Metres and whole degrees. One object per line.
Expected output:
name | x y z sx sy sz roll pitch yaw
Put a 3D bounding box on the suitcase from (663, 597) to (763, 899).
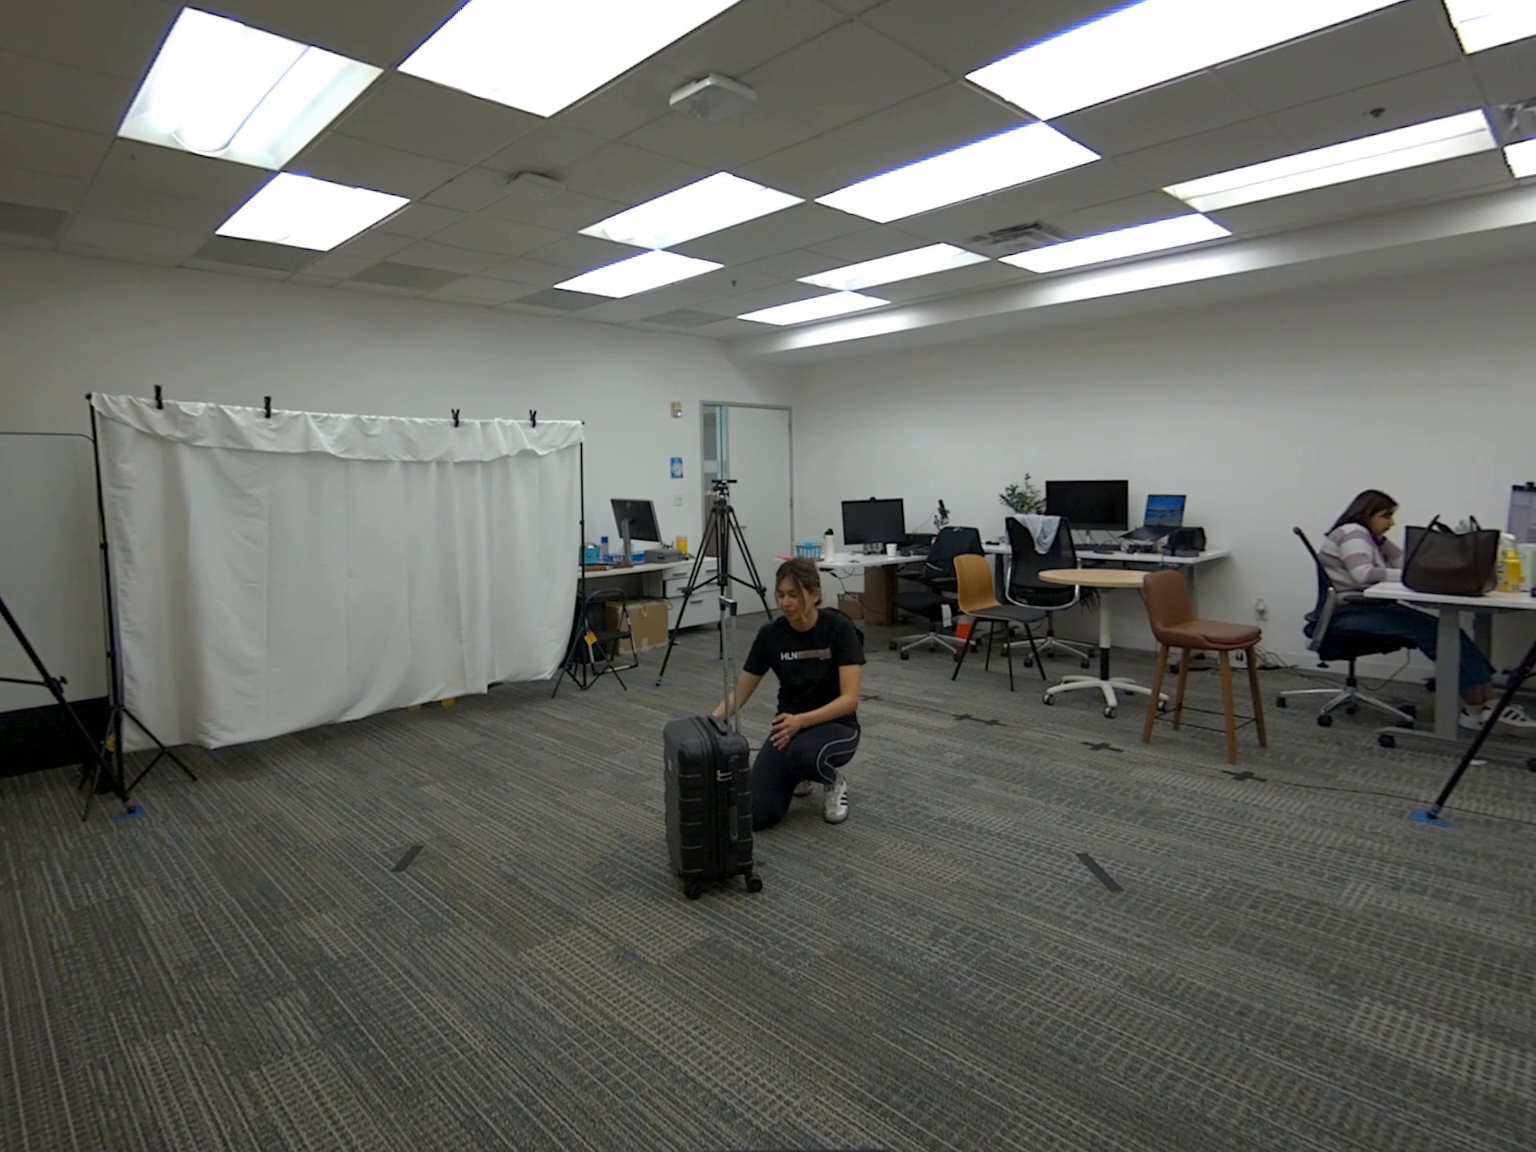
suitcase | -0.222 0.586 2.988 0.254 0.975 0.390 -4 4 -14
